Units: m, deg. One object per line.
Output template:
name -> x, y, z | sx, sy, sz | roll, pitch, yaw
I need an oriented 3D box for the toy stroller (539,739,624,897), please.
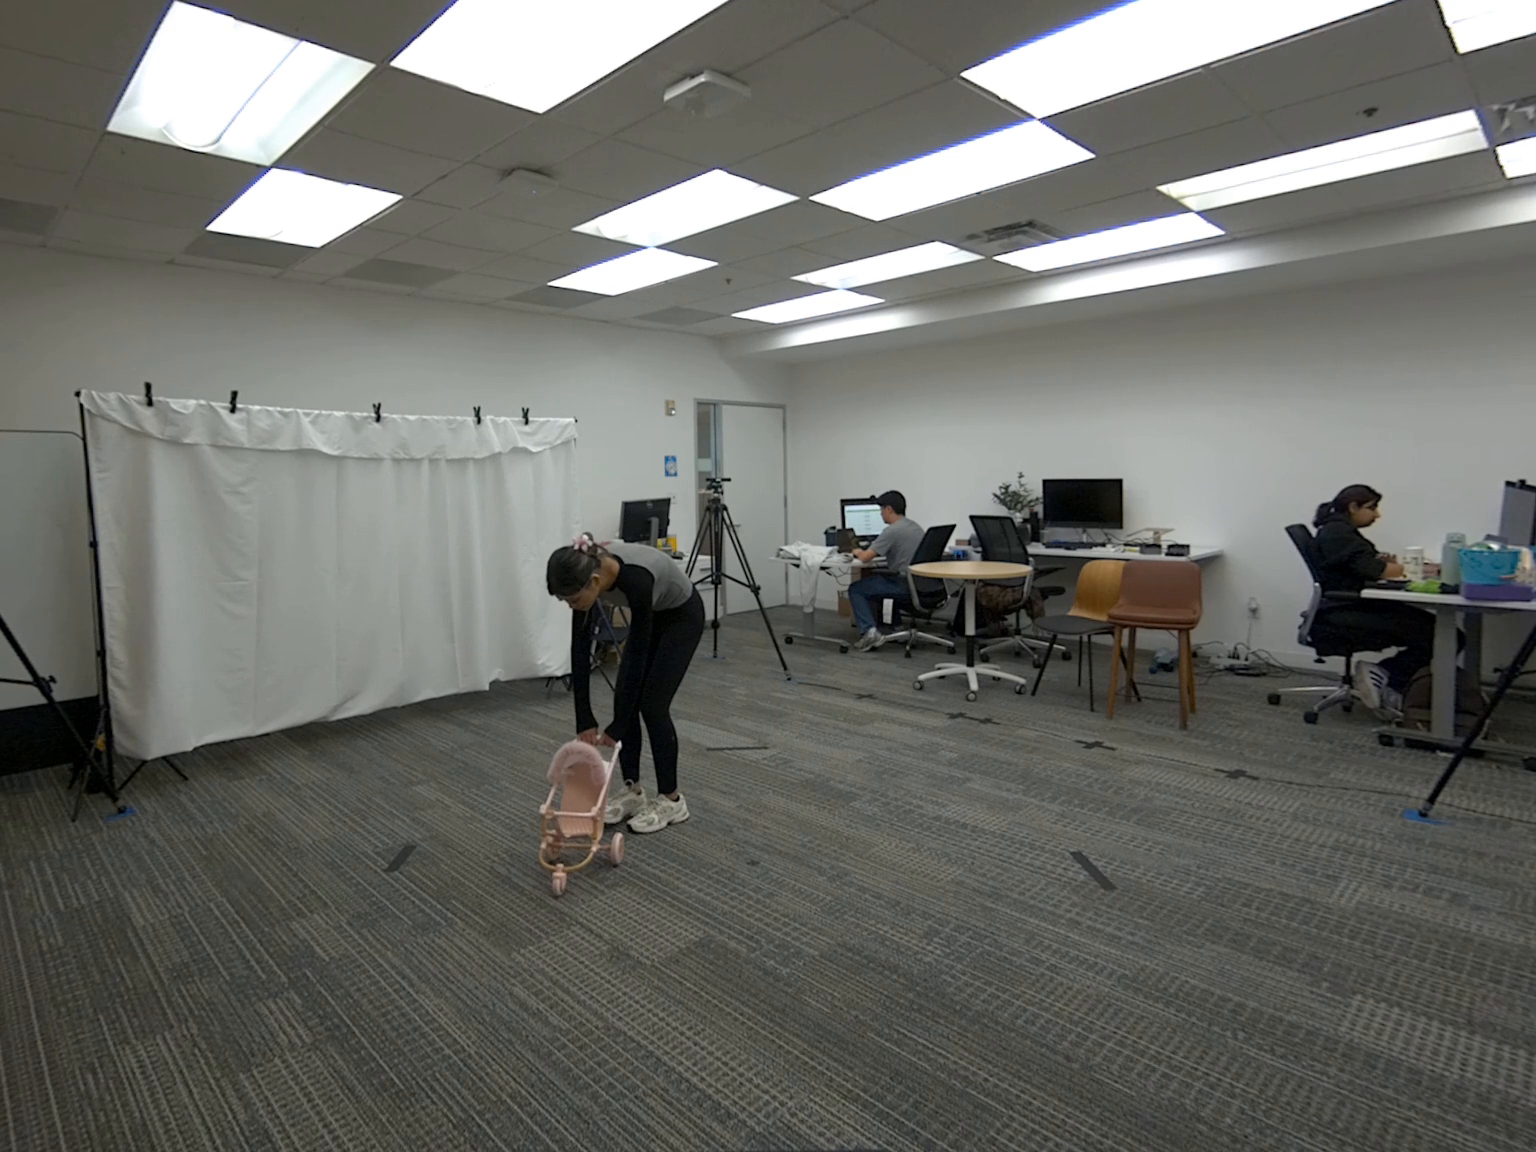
toy stroller -> -0.688, 0.840, 3.068 | 0.285, 0.541, 0.333 | -1, -12, 13
